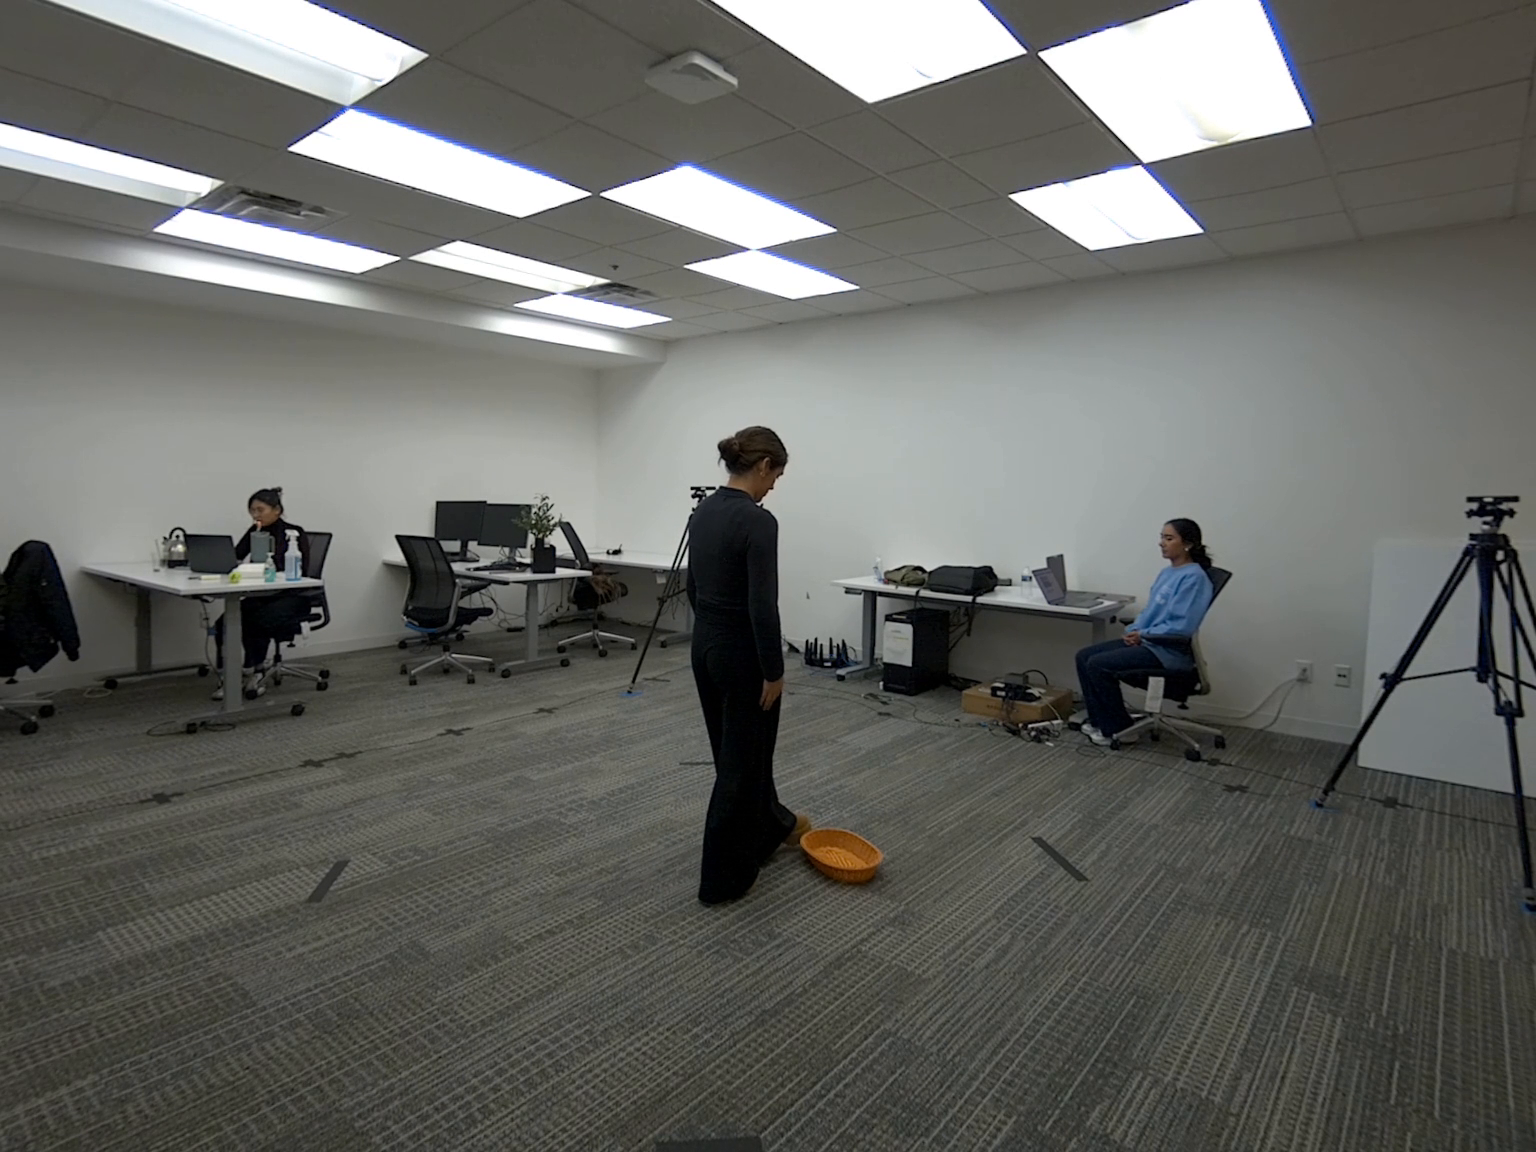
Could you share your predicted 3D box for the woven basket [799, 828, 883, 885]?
[{"bbox_3d":[0.264,1.032,3.140,0.246,0.073,0.361,-3,8,-26],"label":"woven basket"}]
